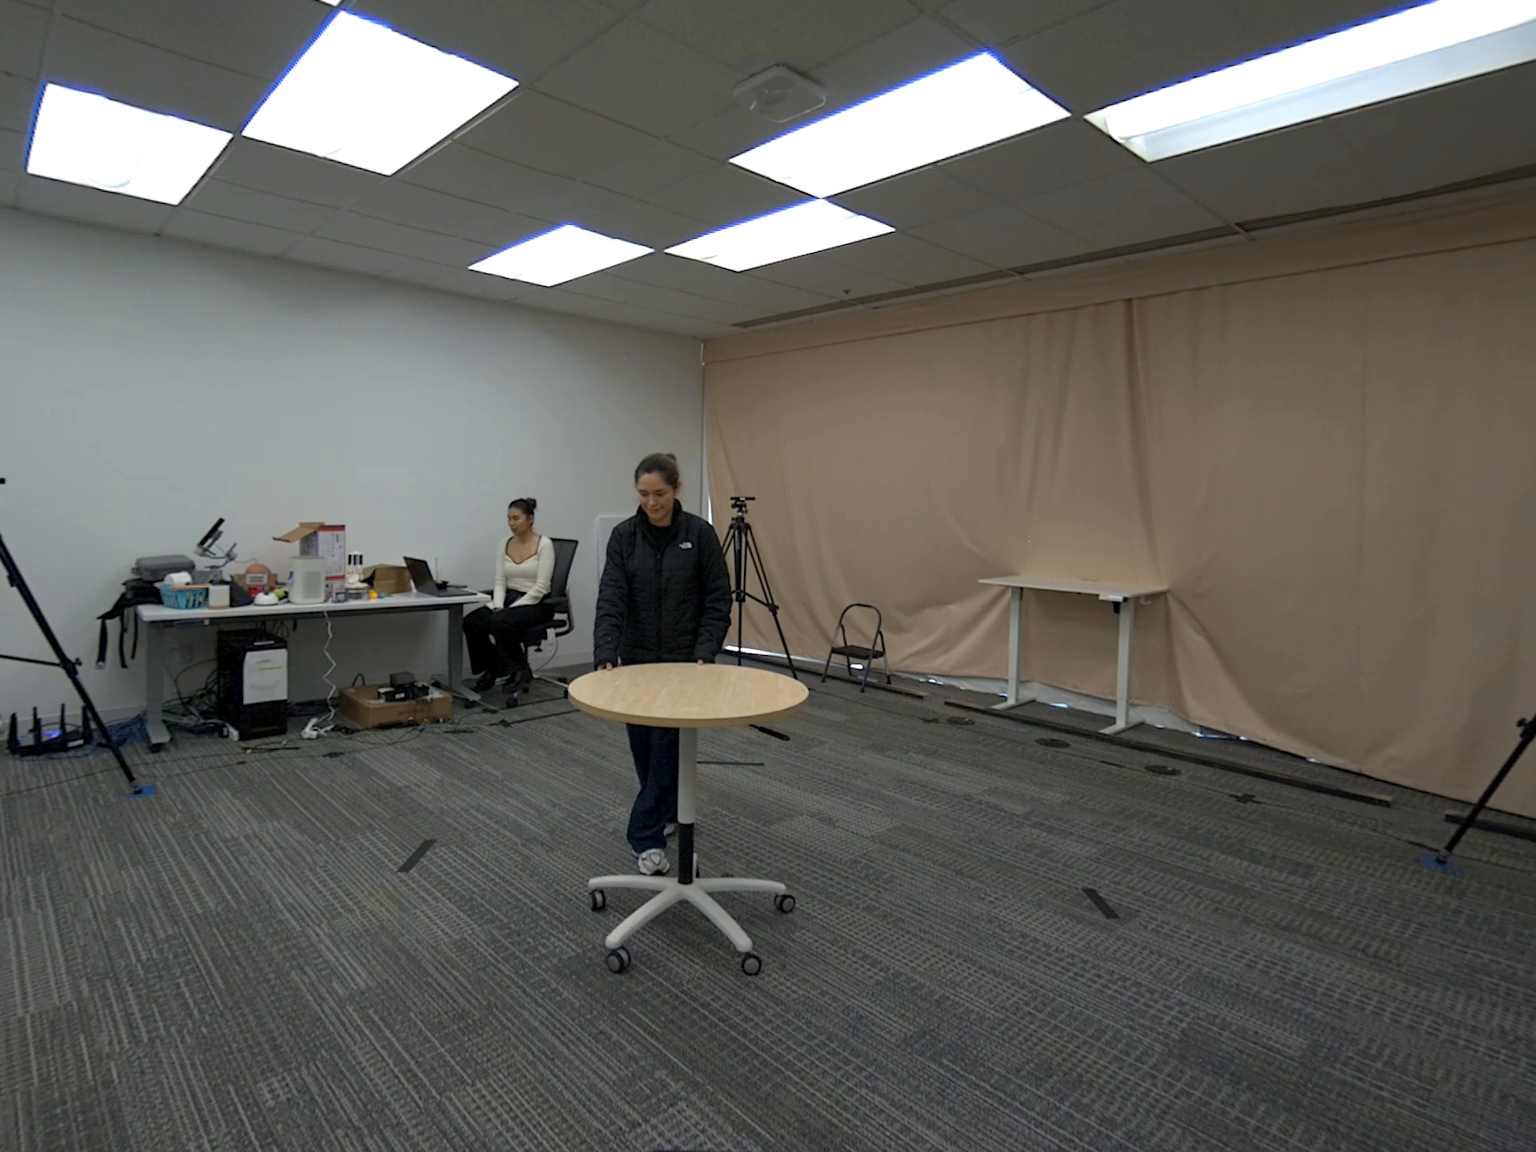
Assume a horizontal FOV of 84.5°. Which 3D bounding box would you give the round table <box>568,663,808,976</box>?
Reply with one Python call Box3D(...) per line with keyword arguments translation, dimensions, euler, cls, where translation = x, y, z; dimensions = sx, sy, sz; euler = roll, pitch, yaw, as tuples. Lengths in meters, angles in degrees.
Box3D(translation=(-0.258, 0.747, 2.723), dimensions=(0.784, 0.784, 0.788), euler=(1, 4, -1), cls="round table")
